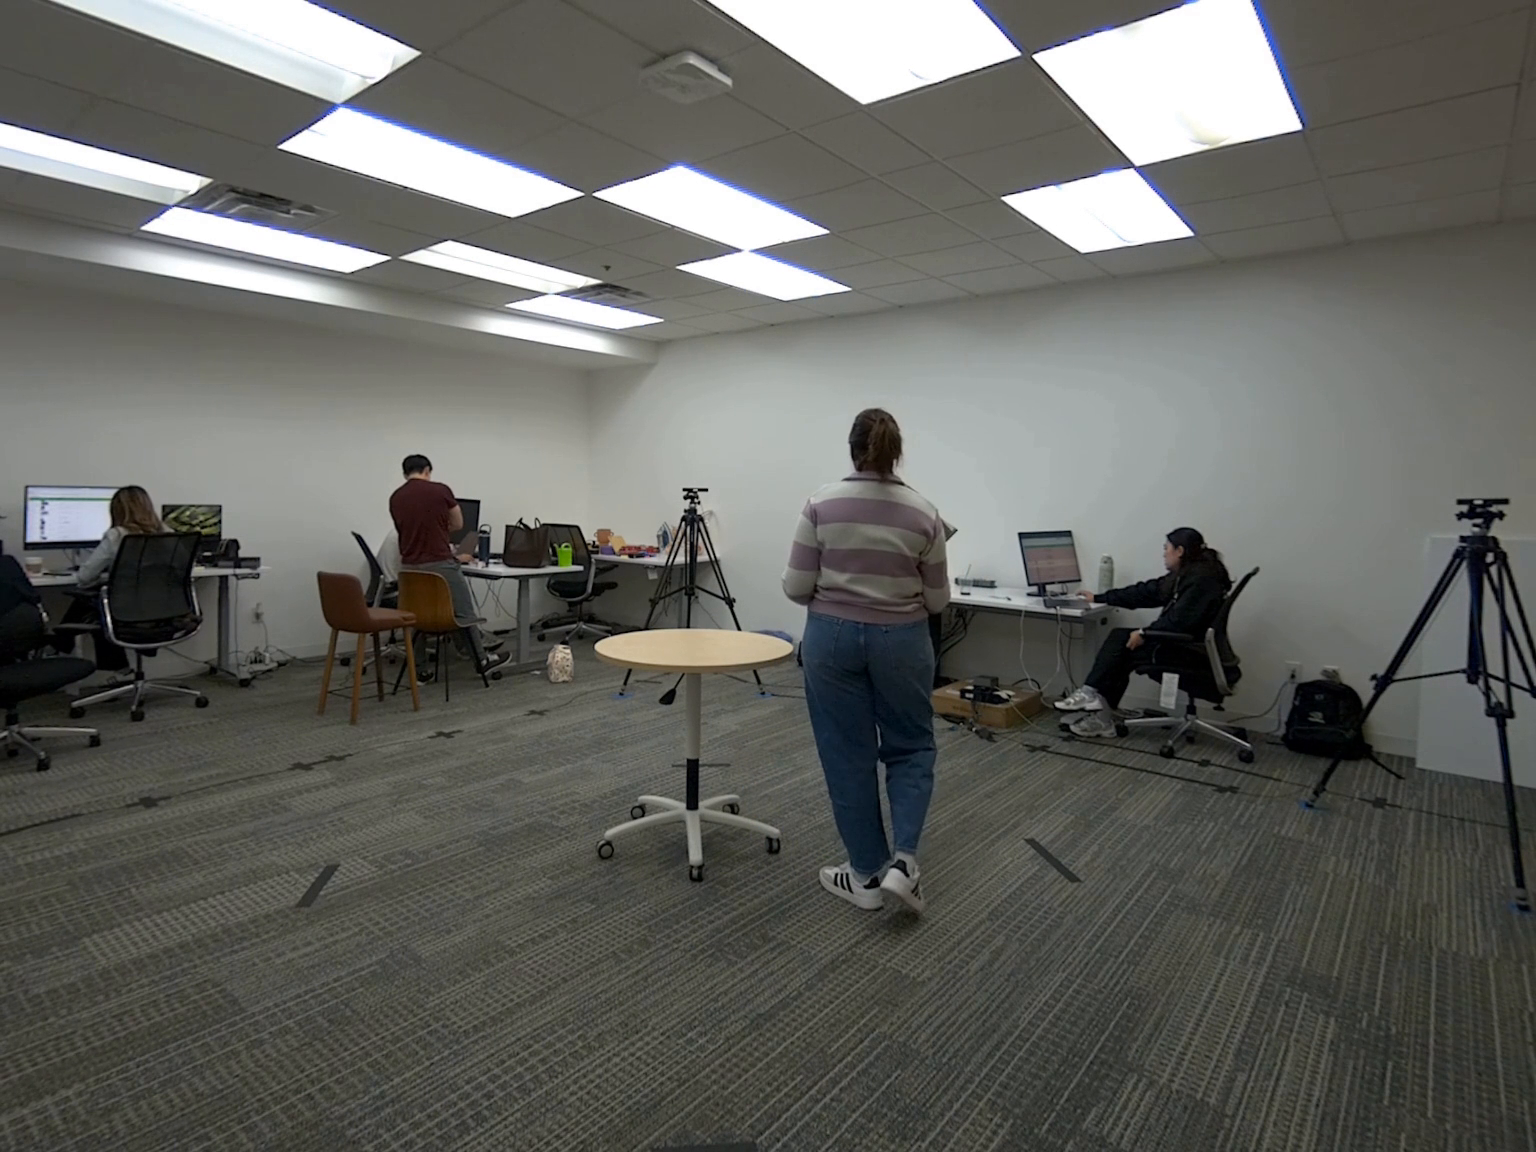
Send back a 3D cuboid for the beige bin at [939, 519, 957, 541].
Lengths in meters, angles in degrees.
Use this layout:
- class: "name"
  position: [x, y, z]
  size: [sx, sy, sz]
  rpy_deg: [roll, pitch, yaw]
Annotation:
- class: "beige bin"
  position: [0.409, -0.153, 3.242]
  size: [0.181, 0.422, 0.393]
  rpy_deg: [45, 2, -37]
